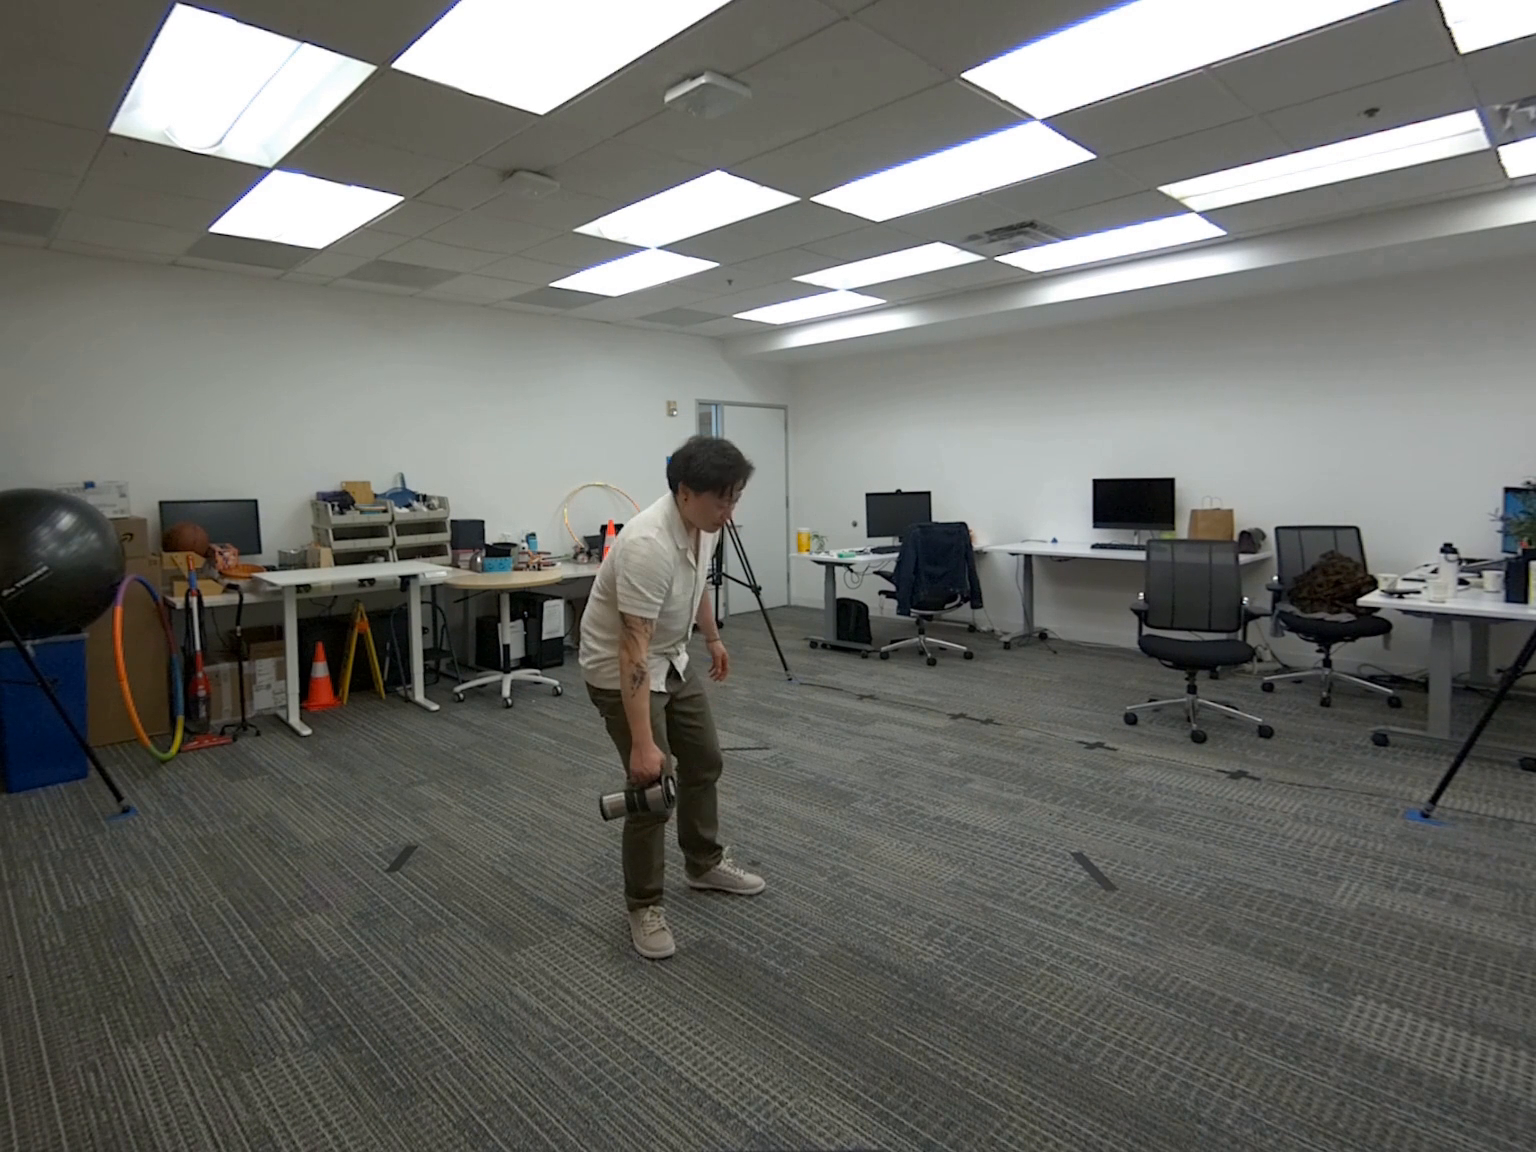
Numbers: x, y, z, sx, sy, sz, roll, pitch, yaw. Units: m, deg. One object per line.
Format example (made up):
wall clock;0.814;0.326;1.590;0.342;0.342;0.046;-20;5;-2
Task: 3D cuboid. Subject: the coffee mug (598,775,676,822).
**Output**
coffee mug;-0.356;0.593;2.329;0.204;0.122;0.088;-10;3;4
